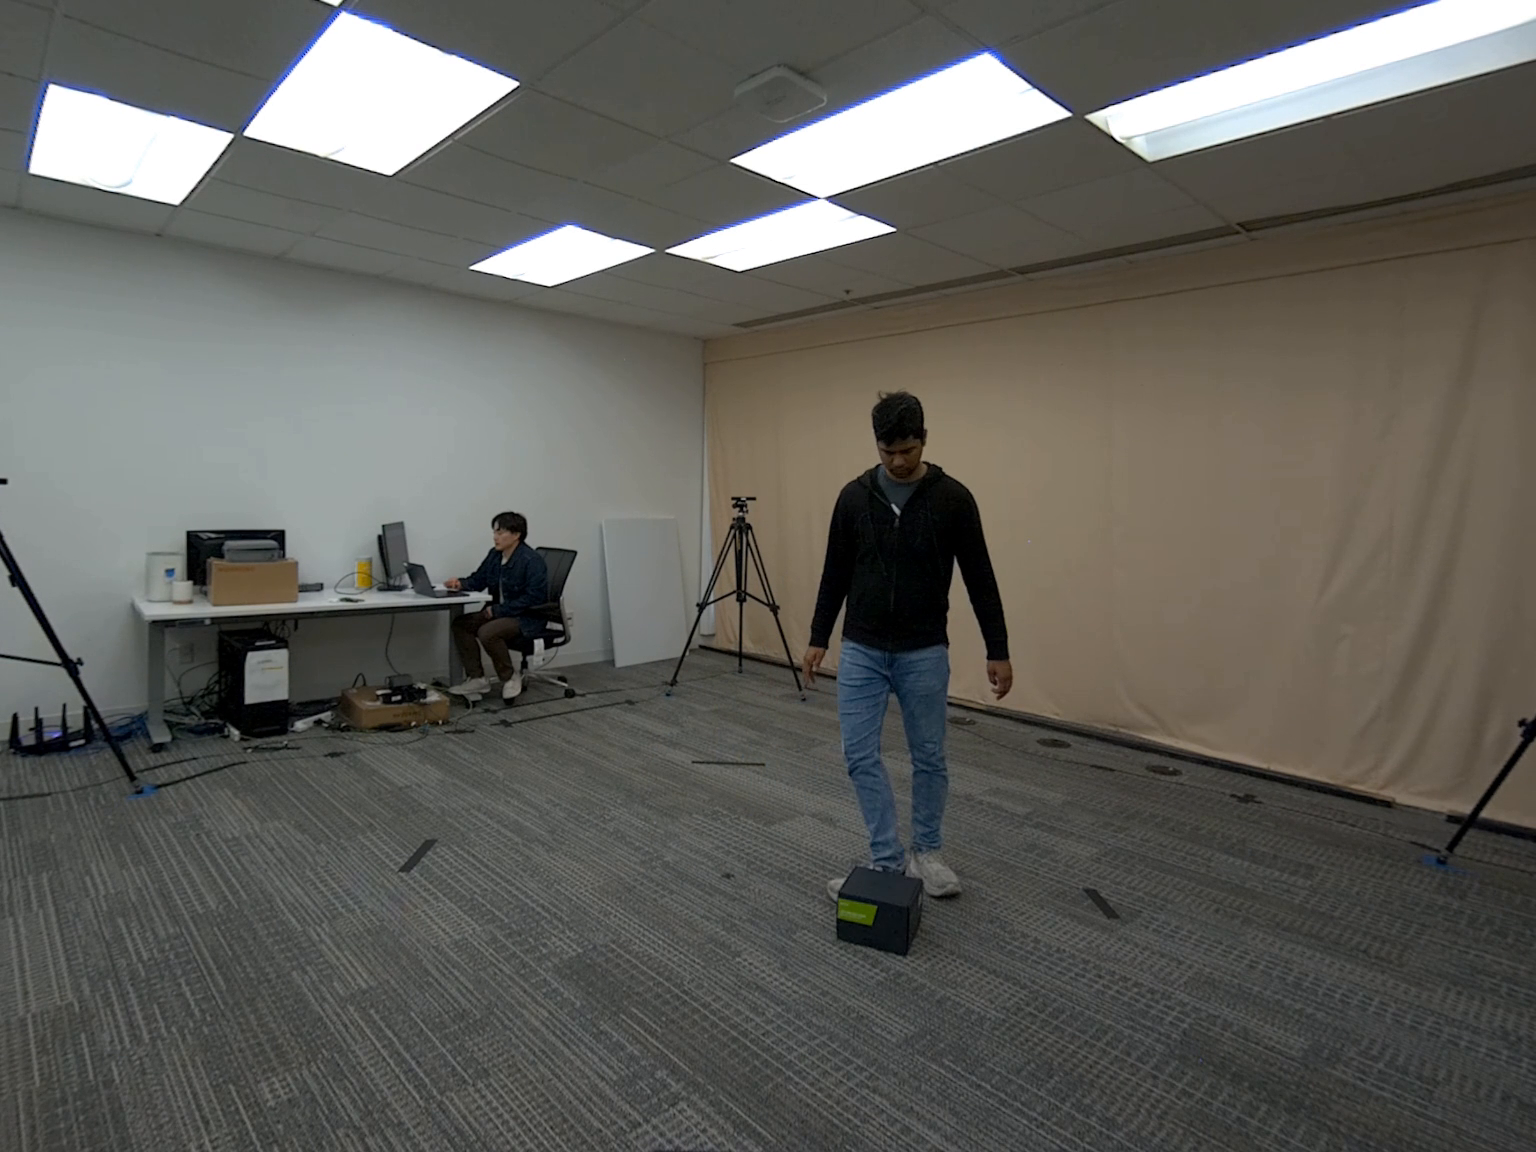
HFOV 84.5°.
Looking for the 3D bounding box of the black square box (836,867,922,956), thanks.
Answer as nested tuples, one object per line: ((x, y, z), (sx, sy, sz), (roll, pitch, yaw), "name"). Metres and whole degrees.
((0.356, 1.074, 2.712), (0.232, 0.155, 0.214), (4, 6, 22), "black square box")
